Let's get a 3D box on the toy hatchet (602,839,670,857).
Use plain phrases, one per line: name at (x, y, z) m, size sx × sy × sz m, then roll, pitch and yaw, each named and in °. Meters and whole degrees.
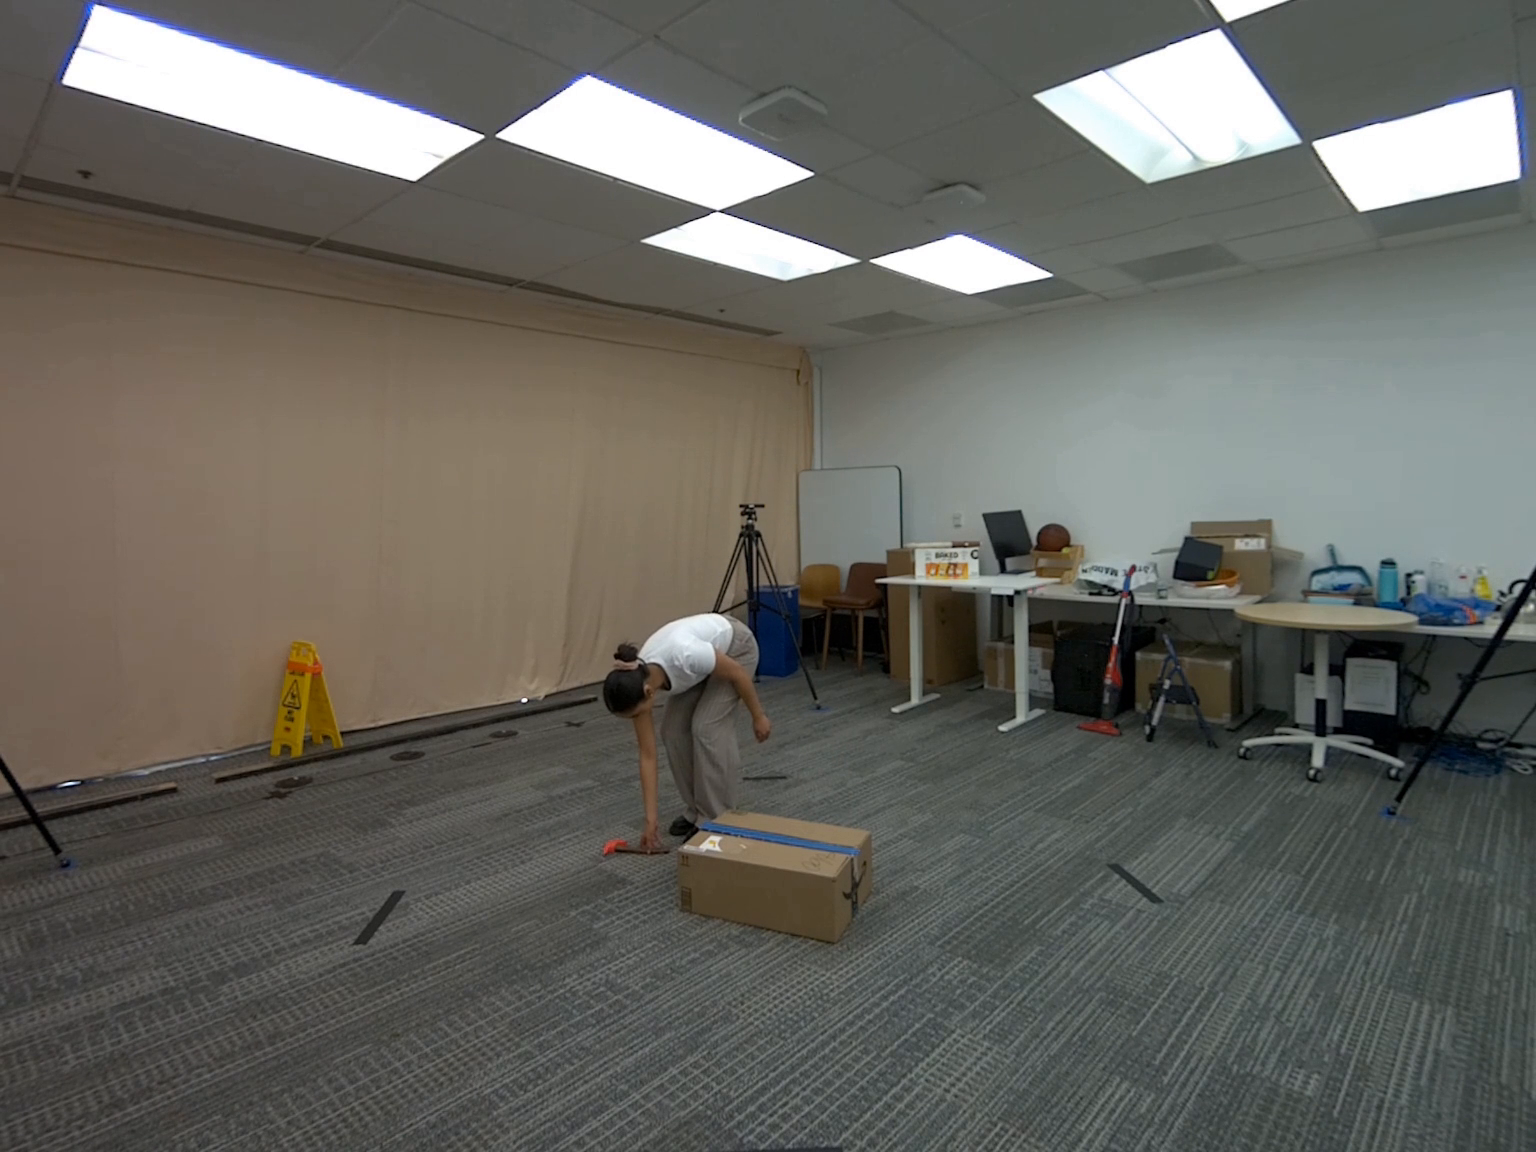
toy hatchet at (-0.535, 1.103, 3.433) m, size 0.270 × 0.029 × 0.131 m, roll 0°, pitch 4°, yaw -2°
